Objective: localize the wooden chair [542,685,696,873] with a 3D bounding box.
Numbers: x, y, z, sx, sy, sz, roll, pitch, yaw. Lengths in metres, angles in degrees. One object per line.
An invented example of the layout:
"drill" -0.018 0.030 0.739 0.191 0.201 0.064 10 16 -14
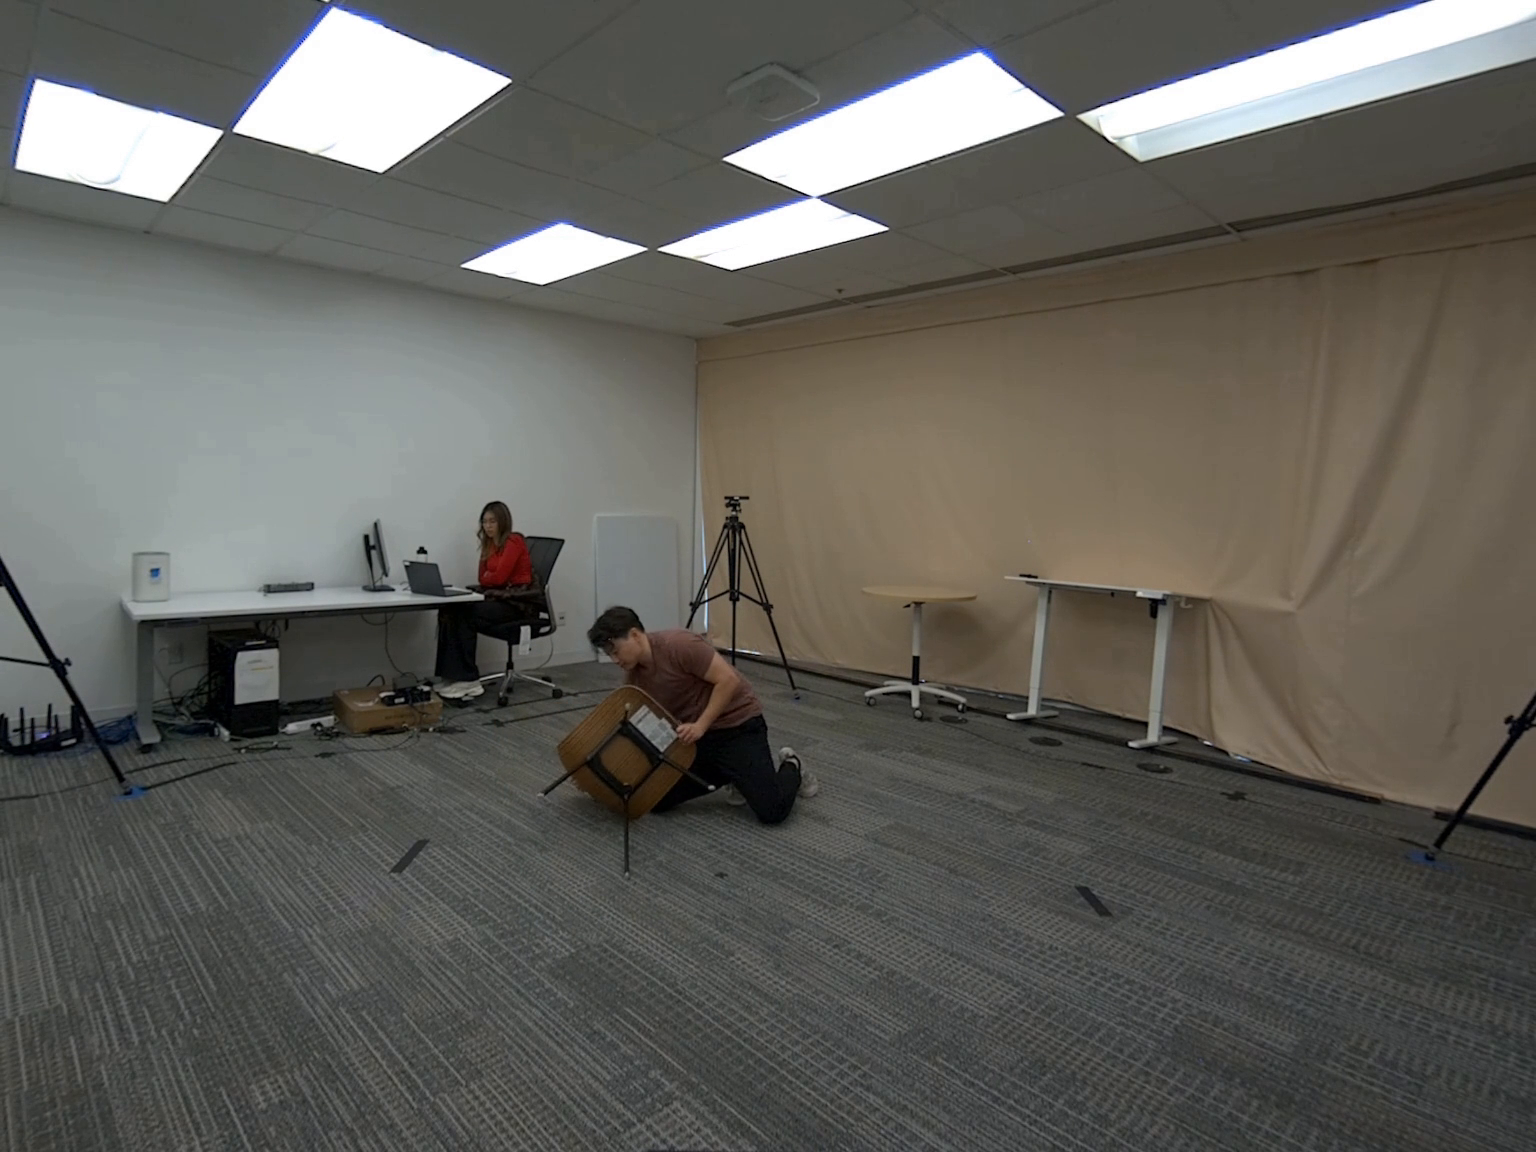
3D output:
"wooden chair" -0.598 0.765 3.468 0.474 0.523 0.886 45 -10 -10
